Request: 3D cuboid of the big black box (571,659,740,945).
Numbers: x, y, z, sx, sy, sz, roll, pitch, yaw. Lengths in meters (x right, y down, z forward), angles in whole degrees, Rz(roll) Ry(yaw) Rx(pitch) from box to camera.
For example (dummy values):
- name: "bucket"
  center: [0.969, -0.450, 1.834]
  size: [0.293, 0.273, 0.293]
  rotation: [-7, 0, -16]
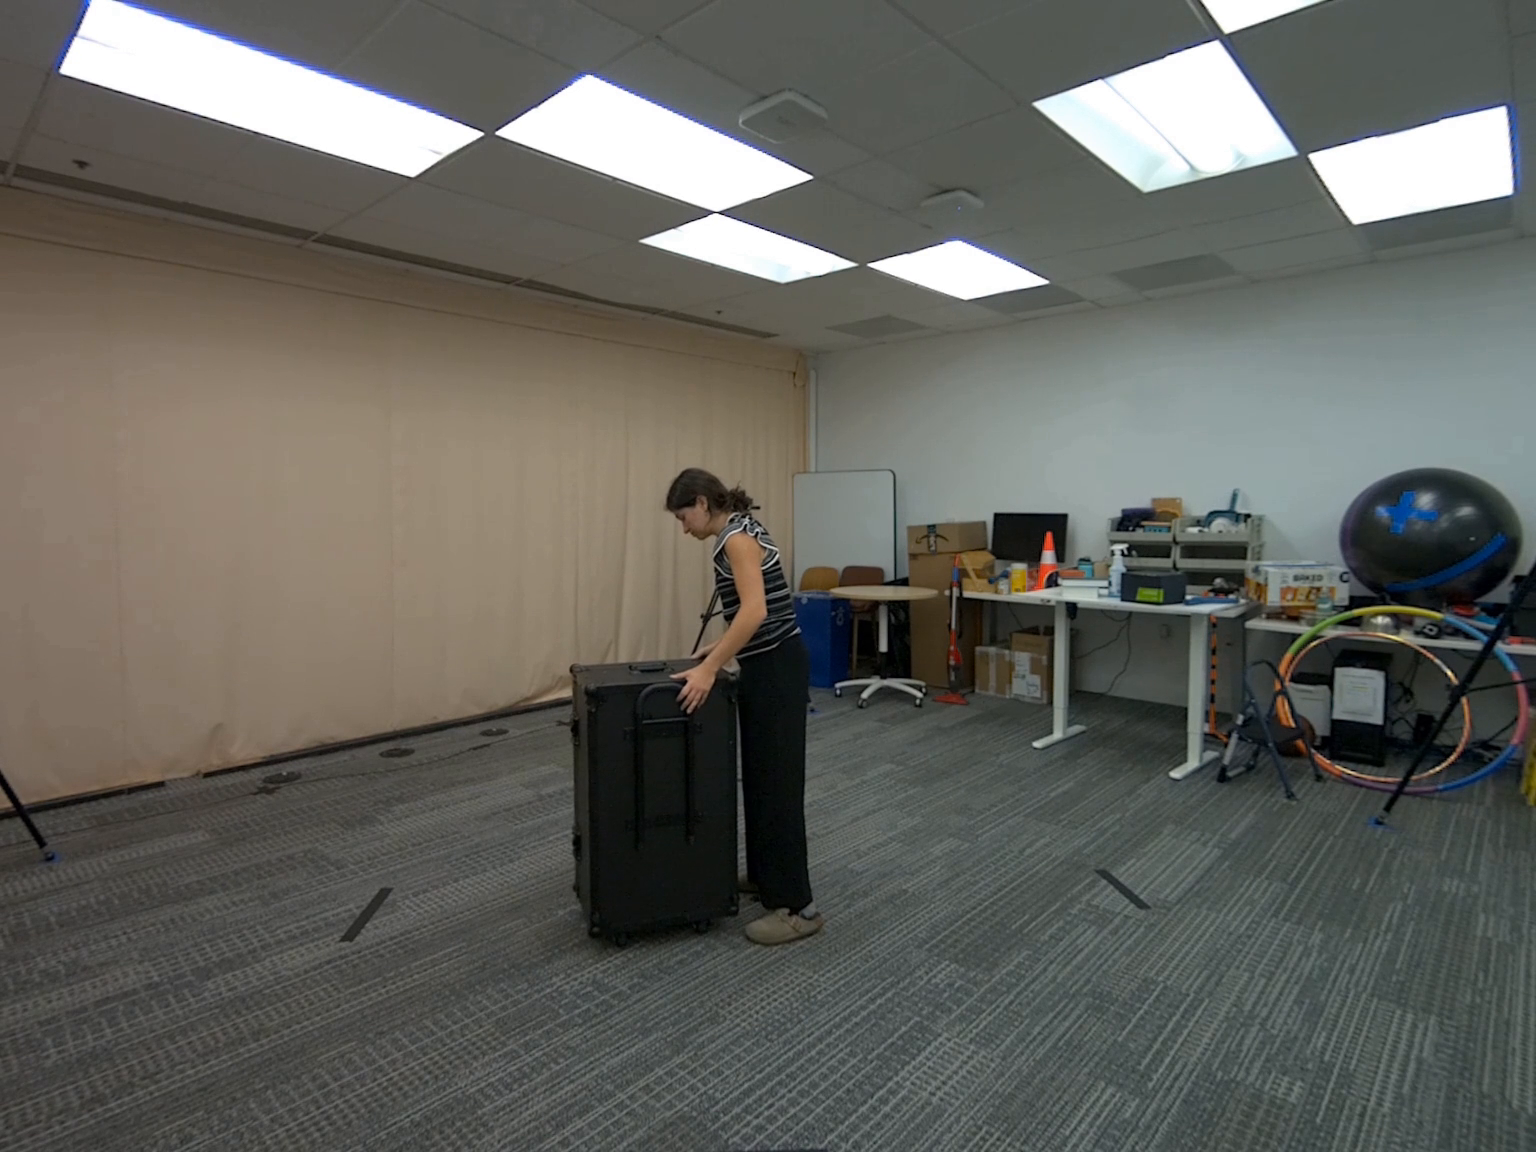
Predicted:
- name: "big black box"
  center: [-0.378, 0.740, 2.784]
  size: [0.512, 0.859, 0.404]
  rotation: [-1, 4, -18]
